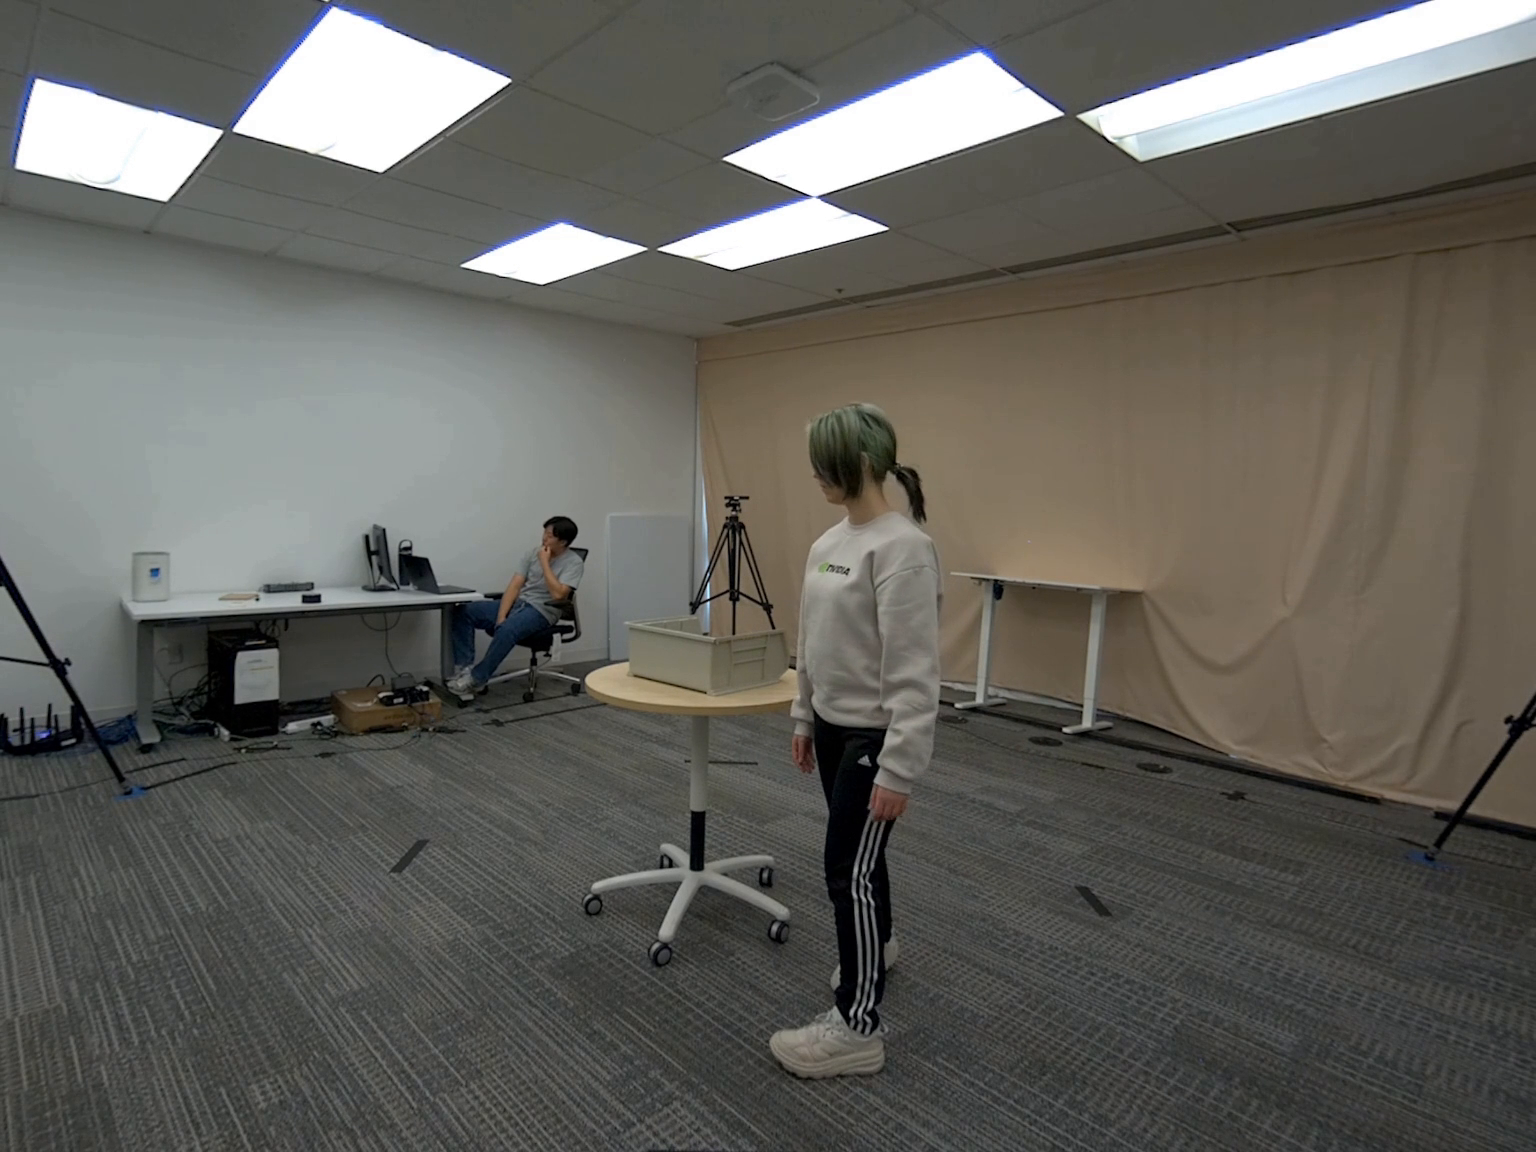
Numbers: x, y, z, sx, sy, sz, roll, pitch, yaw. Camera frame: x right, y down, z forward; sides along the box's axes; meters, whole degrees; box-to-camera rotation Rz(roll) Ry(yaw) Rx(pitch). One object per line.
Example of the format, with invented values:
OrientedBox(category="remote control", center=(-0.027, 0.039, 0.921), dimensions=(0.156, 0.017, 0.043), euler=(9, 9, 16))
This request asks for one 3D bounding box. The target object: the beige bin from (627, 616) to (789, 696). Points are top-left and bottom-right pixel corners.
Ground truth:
OrientedBox(category="beige bin", center=(-0.205, 0.255, 2.816), dimensions=(0.433, 0.188, 0.369), euler=(6, 8, 42))
